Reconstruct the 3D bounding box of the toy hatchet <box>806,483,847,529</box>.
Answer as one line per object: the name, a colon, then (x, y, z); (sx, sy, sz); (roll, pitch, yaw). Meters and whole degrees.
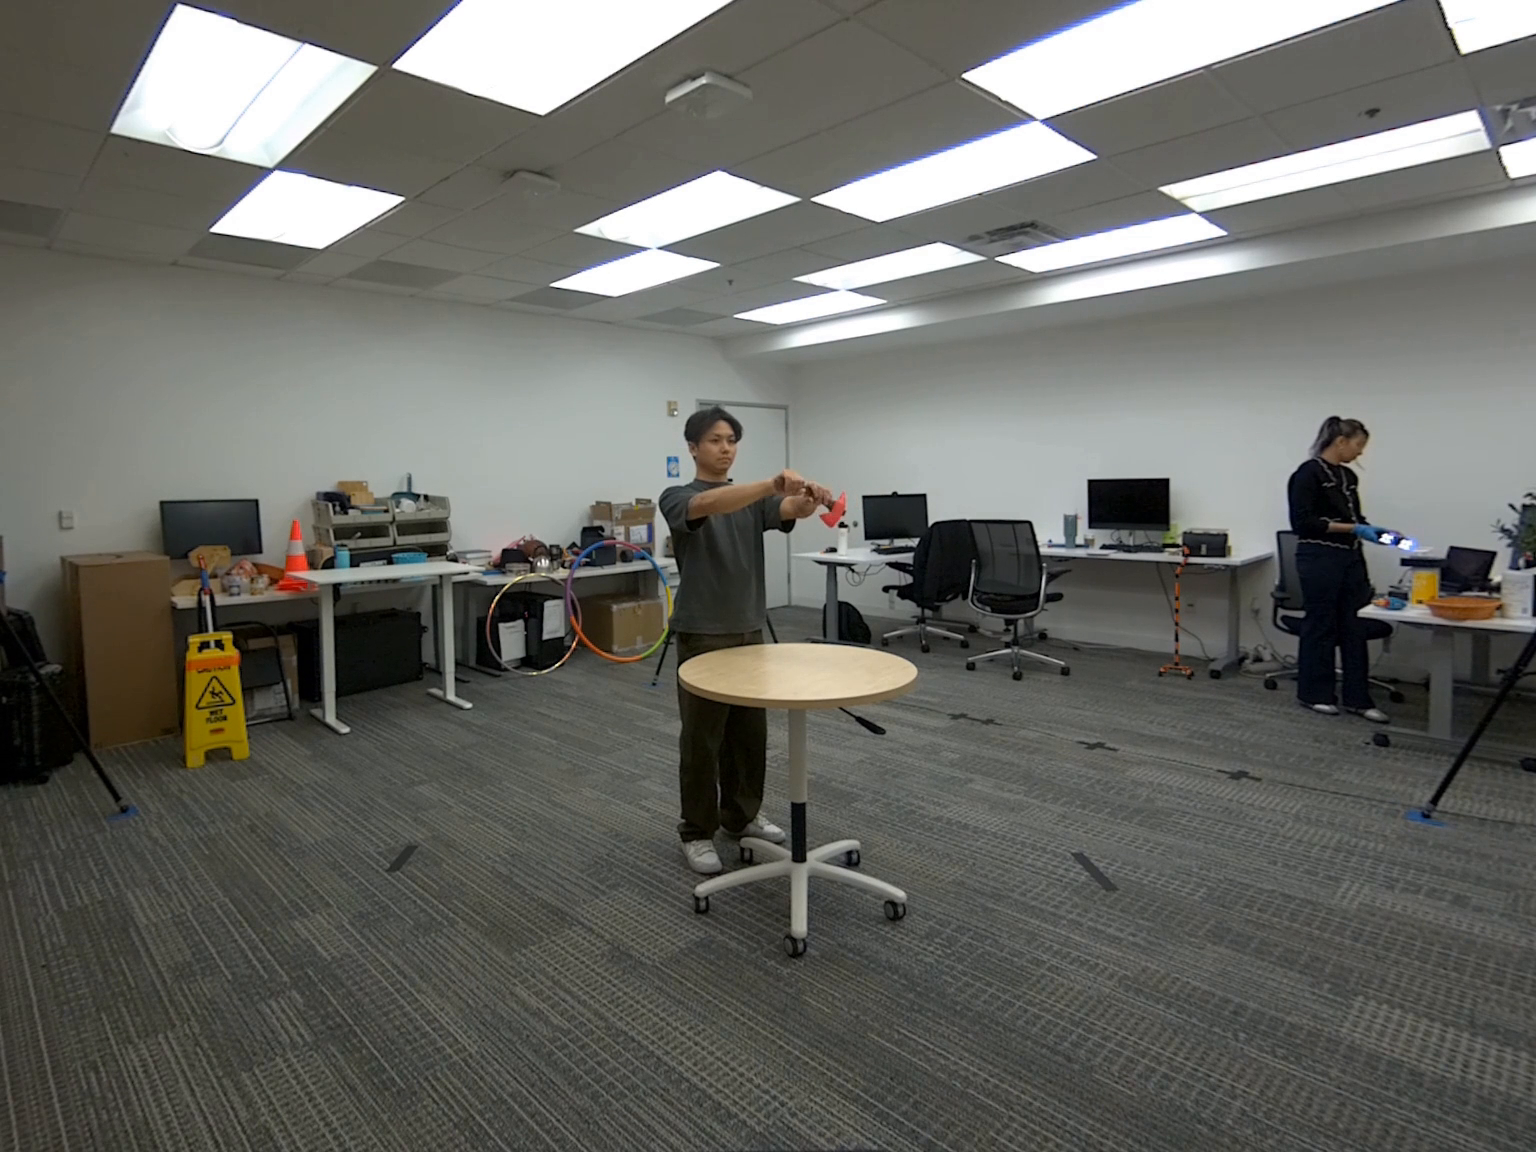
toy hatchet: (0.124, -0.226, 2.775); (0.265, 0.131, 0.030); (5, 0, -17)
